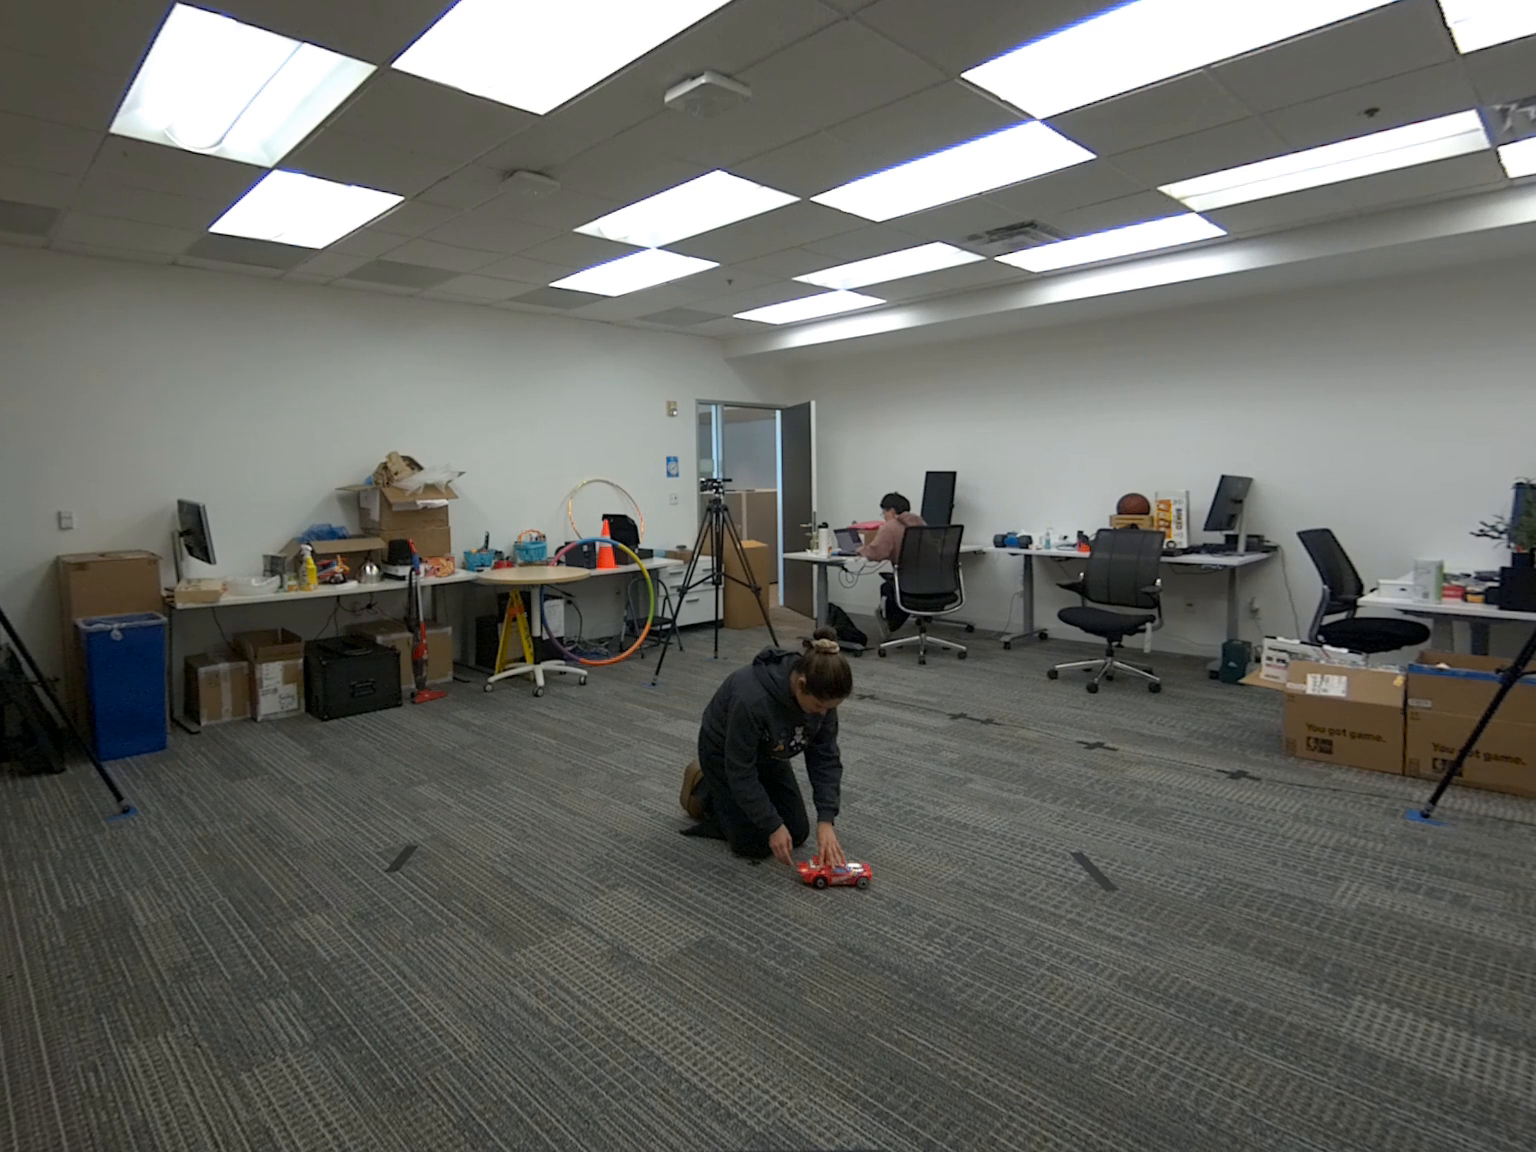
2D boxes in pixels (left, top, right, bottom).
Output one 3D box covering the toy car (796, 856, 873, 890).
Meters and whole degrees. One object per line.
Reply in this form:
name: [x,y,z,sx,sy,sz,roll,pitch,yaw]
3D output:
toy car: [0.226,1.025,2.938,0.254,0.083,0.131,9,2,-2]
